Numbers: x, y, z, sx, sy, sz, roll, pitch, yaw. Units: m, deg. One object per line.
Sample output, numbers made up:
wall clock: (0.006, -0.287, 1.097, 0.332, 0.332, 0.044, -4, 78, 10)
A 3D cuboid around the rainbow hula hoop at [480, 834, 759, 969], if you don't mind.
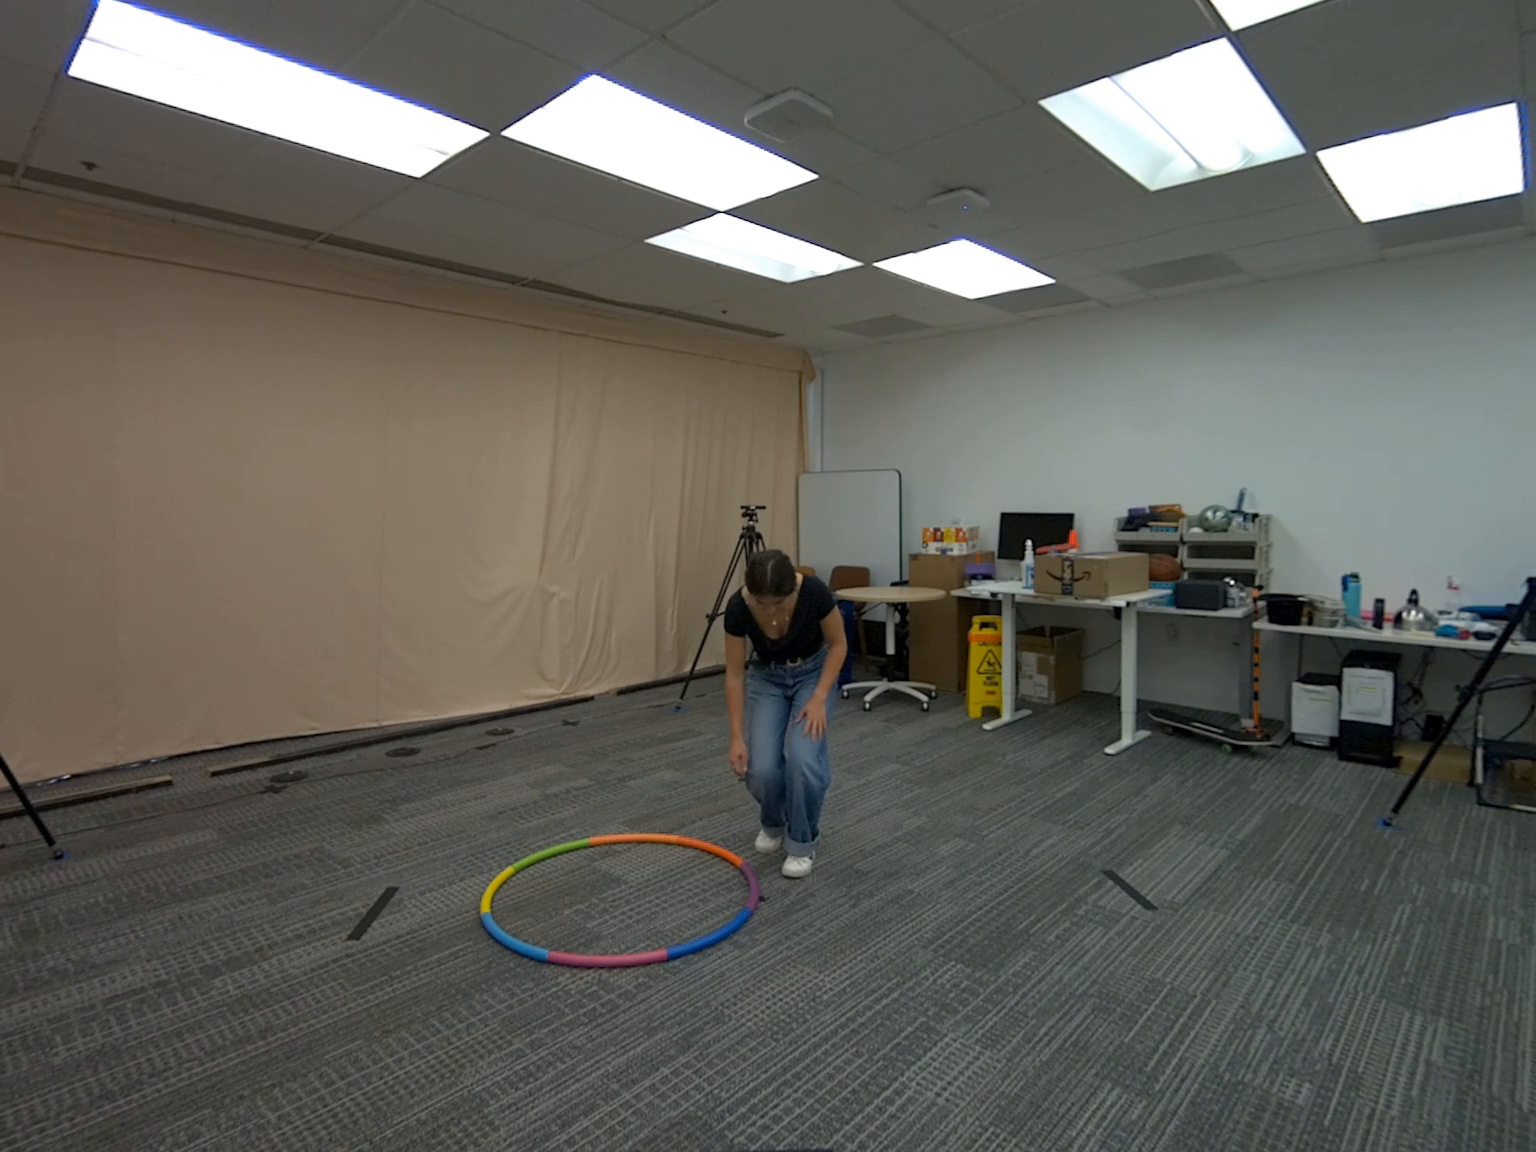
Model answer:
rainbow hula hoop: (-0.510, 1.118, 3.019, 0.978, 0.035, 0.982, 0, 4, -2)
